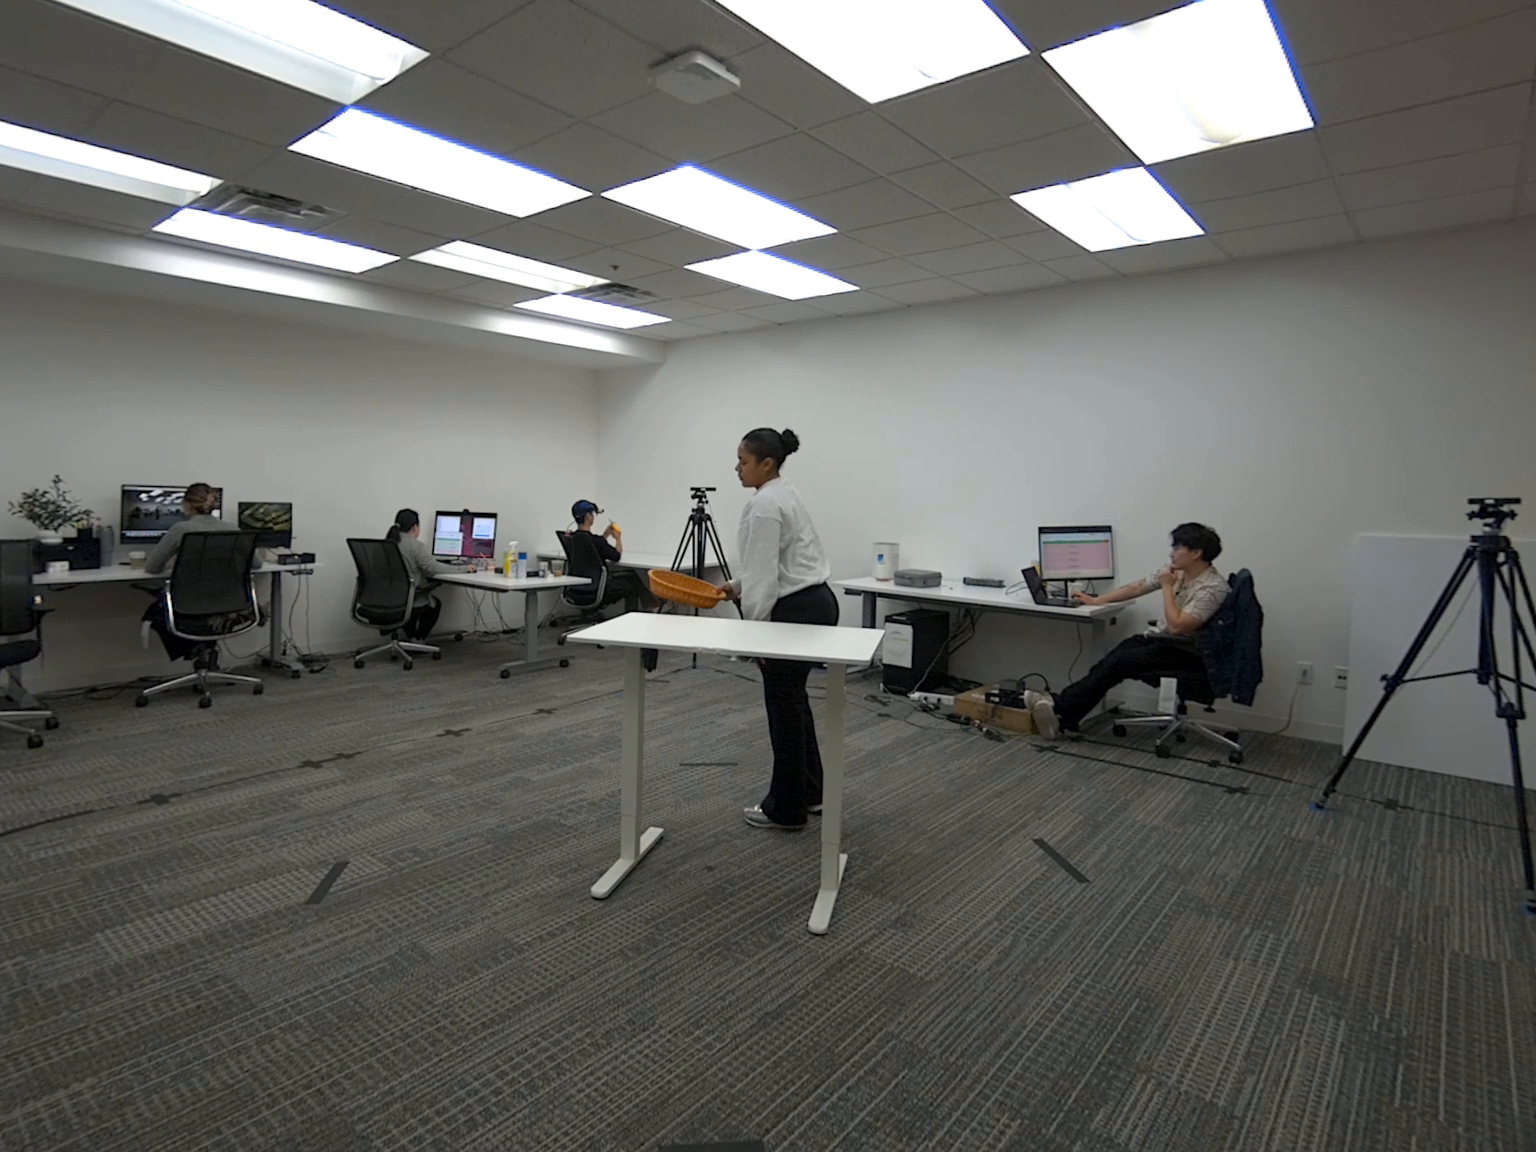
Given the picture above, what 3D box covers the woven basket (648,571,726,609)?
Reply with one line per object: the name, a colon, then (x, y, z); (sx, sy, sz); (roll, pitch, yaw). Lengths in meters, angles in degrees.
woven basket: (-0.314, 0.091, 3.686); (0.351, 0.073, 0.254); (4, 12, 1)
